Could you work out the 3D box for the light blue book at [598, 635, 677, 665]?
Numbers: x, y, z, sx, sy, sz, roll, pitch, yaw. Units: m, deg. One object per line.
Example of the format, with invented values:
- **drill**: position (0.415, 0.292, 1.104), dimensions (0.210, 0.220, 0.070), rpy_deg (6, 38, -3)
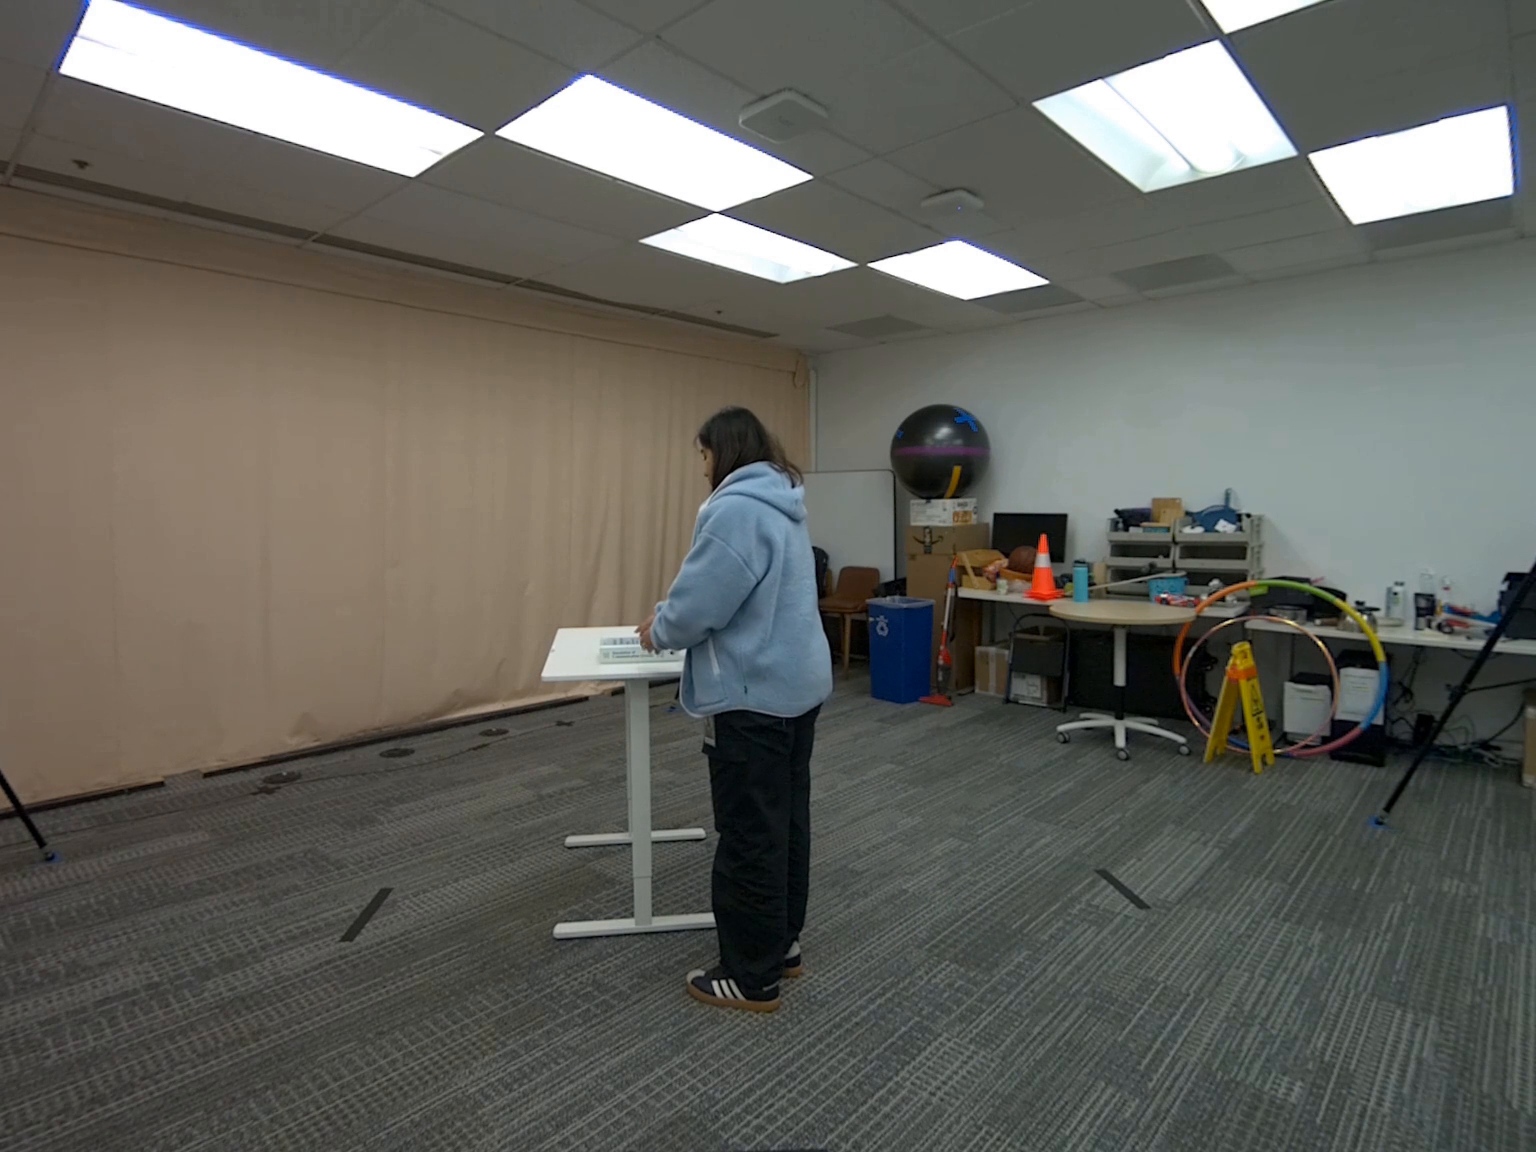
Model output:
- **light blue book**: position (-0.434, 0.244, 2.845), dimensions (0.259, 0.059, 0.193), rpy_deg (1, 5, -6)
